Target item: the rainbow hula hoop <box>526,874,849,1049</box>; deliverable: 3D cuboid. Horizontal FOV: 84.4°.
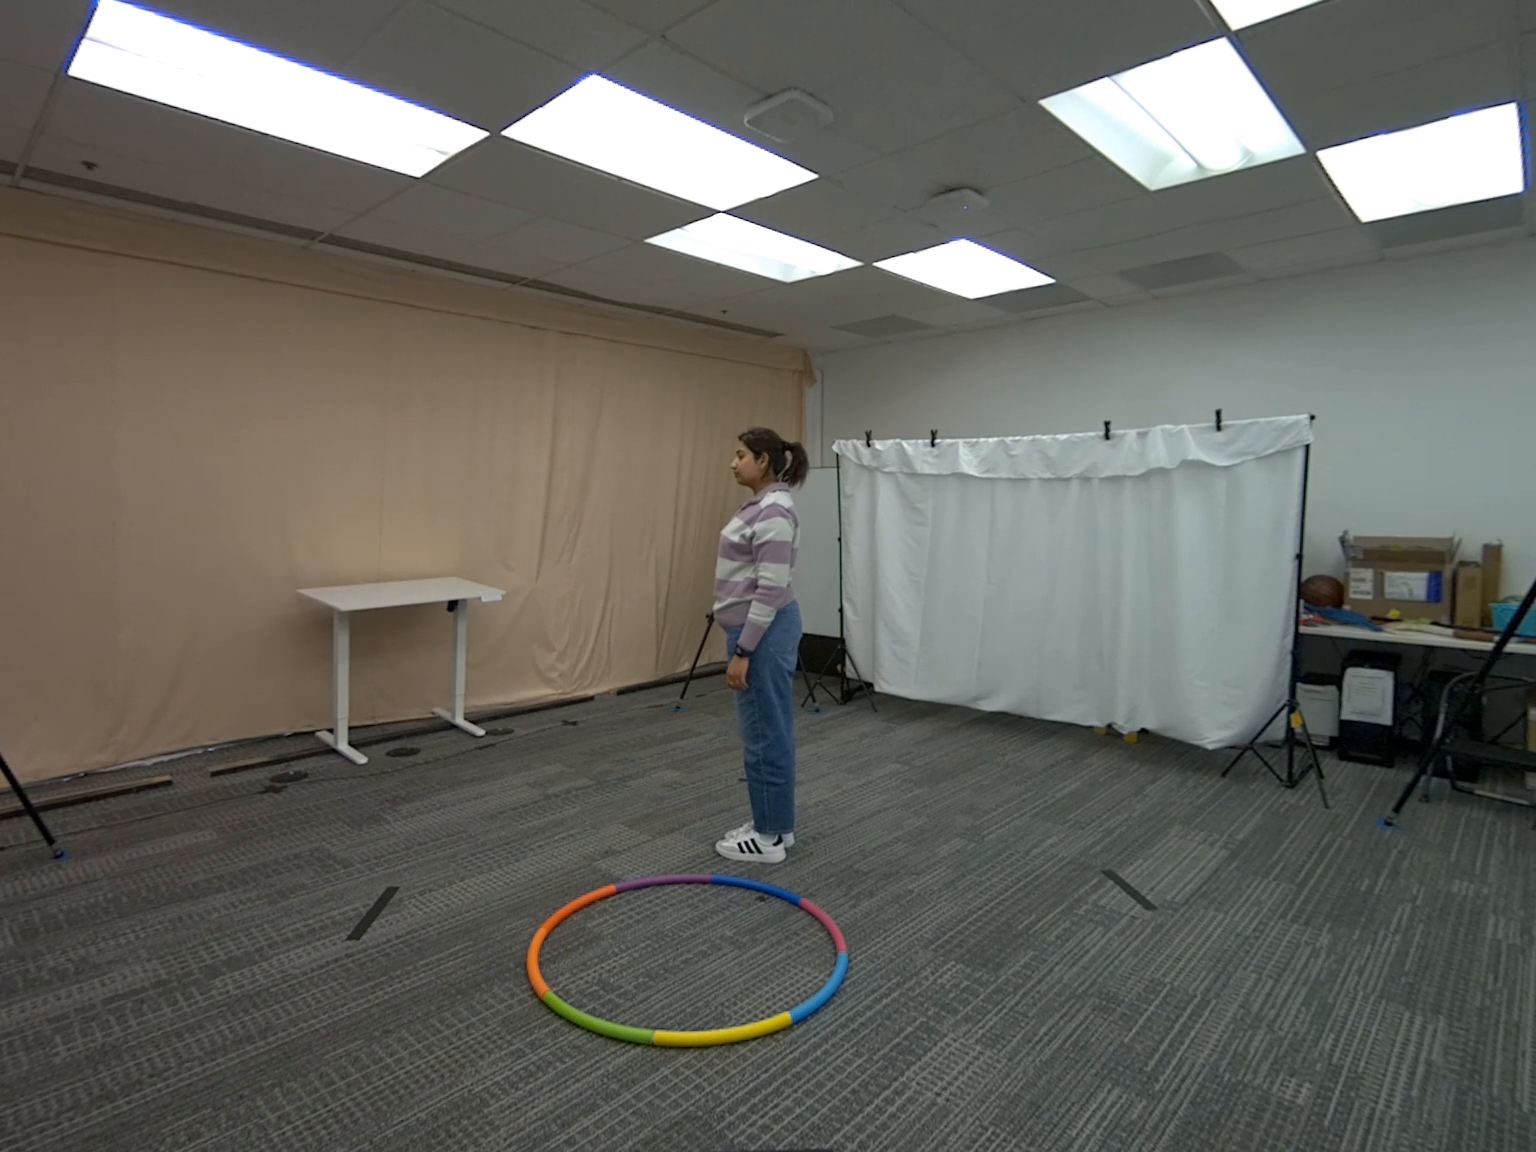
[{"bbox_3d":[-0.248,1.144,2.644,0.978,0.035,0.982,0,5,-2],"label":"rainbow hula hoop"}]
